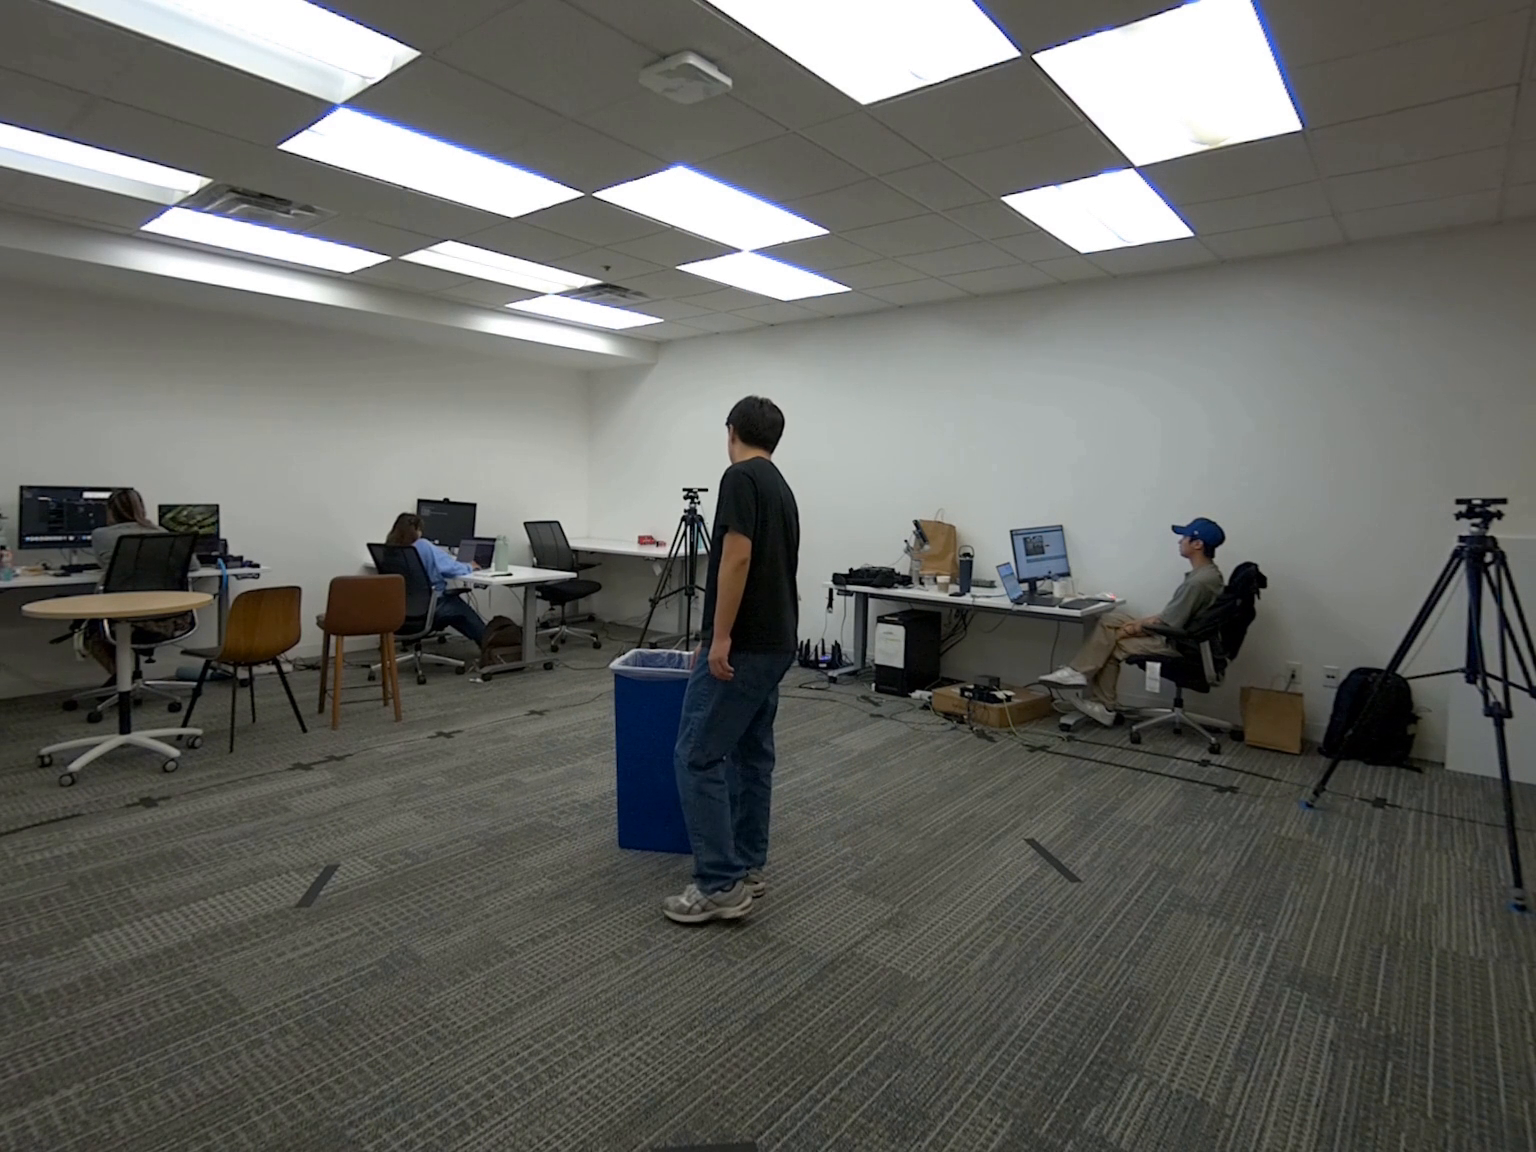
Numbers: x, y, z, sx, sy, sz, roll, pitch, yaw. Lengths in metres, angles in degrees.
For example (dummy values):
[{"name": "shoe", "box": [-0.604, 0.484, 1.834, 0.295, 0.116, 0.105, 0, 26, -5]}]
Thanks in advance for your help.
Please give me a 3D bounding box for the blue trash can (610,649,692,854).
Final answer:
[{"name": "blue trash can", "box": [-0.427, 0.680, 3.393, 0.381, 0.711, 0.372, 2, 4, 7]}]
